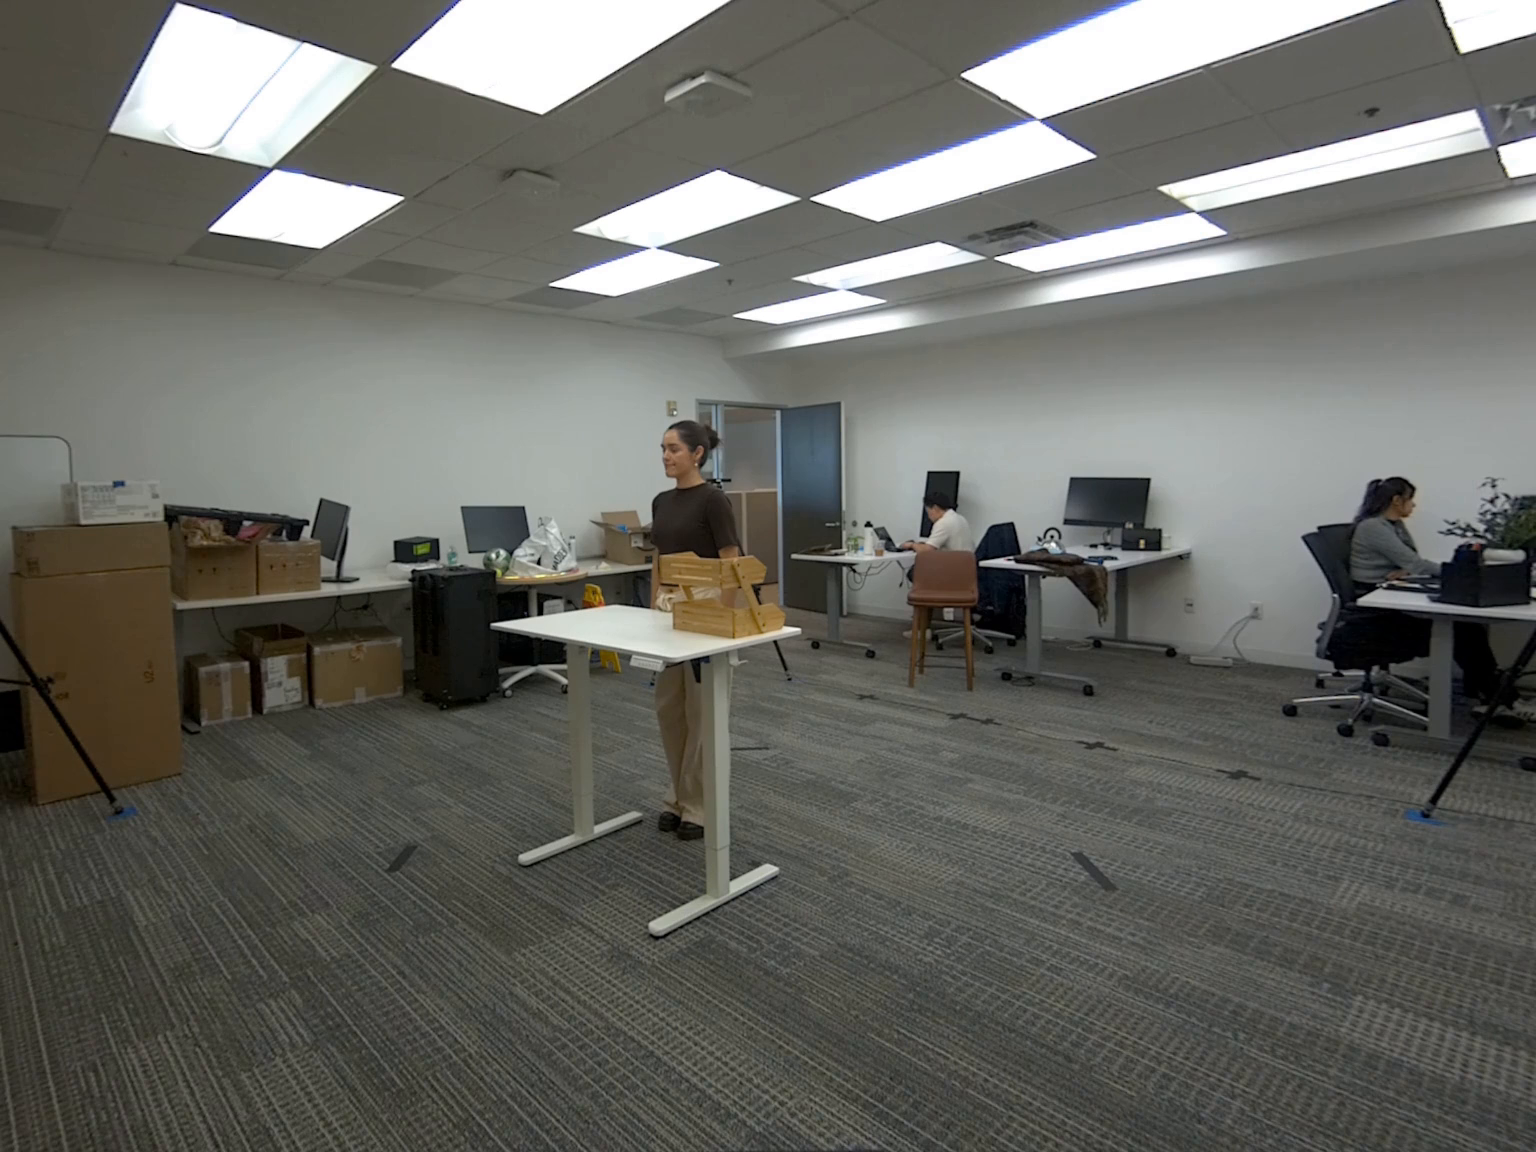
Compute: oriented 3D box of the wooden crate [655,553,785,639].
[{"bbox_3d":[-0.159,0.054,2.910,0.334,0.272,0.294,4,8,45],"label":"wooden crate"}]
